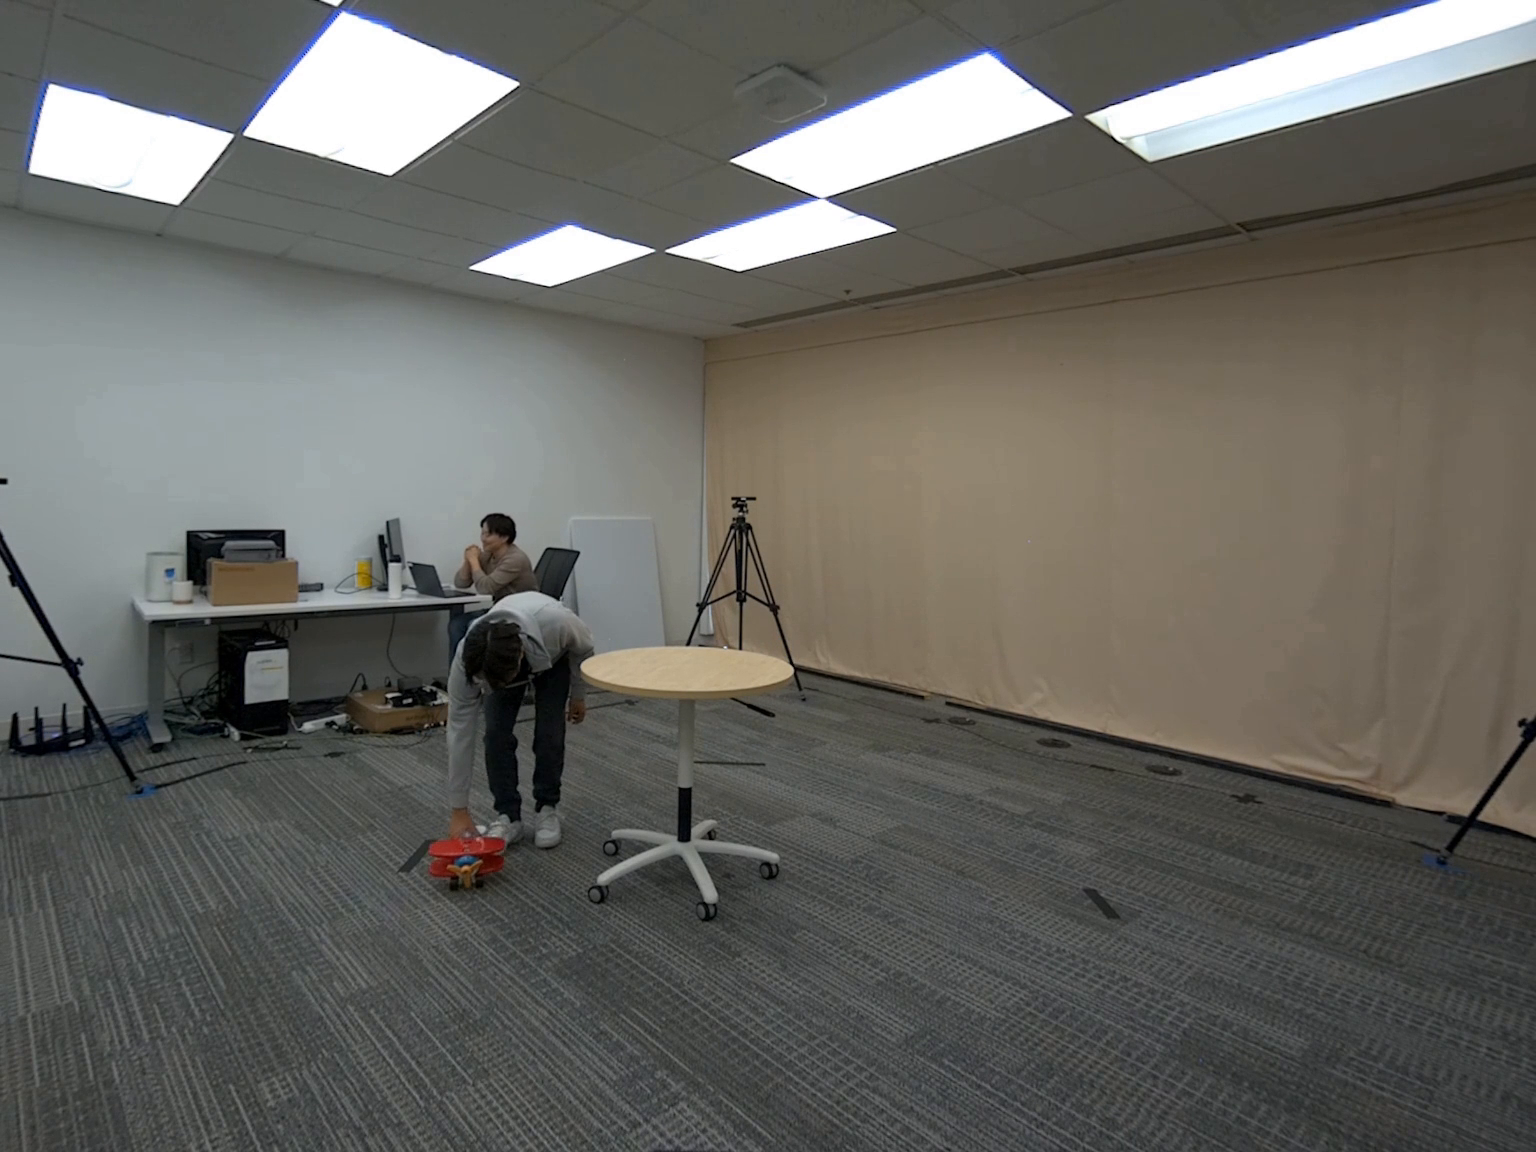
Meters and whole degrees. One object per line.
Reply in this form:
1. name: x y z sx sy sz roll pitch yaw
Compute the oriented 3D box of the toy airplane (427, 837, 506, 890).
1. toy airplane: -1.110 0.995 3.001 0.247 0.154 0.267 -20 43 -40
